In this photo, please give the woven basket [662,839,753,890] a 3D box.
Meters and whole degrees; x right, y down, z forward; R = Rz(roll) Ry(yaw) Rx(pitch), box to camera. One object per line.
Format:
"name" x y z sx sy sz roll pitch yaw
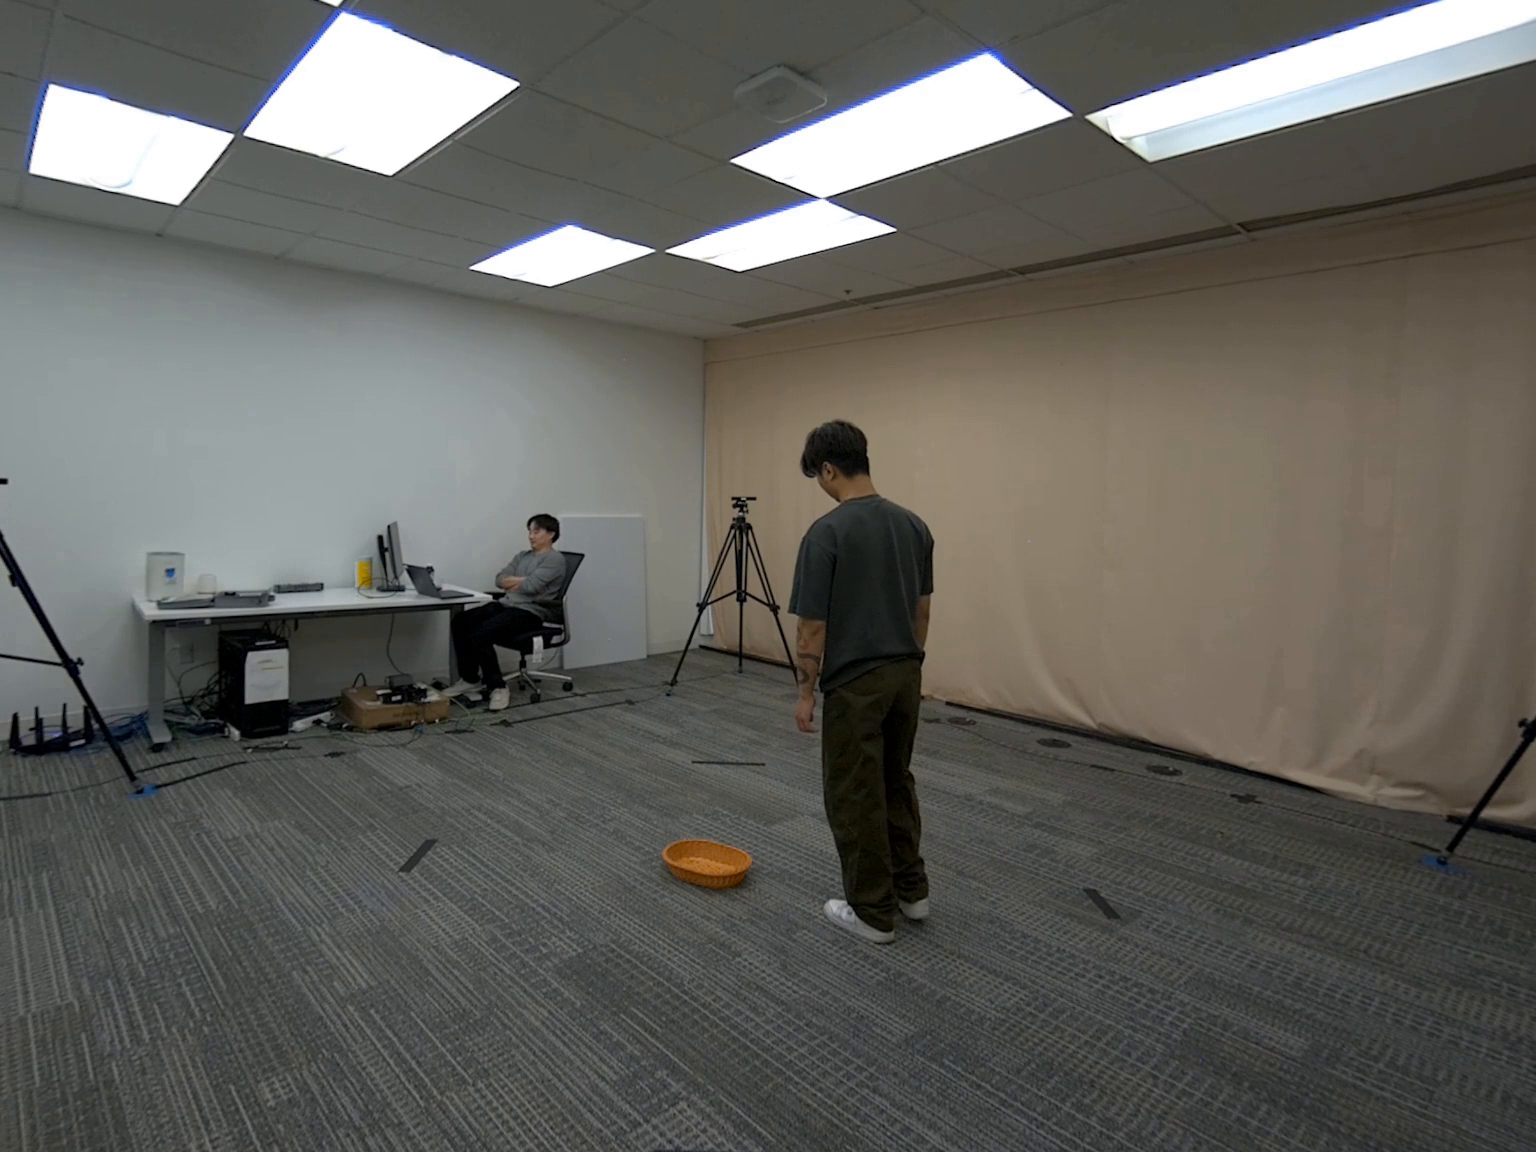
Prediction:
"woven basket" -0.234 1.062 3.106 0.358 0.073 0.247 5 6 32
